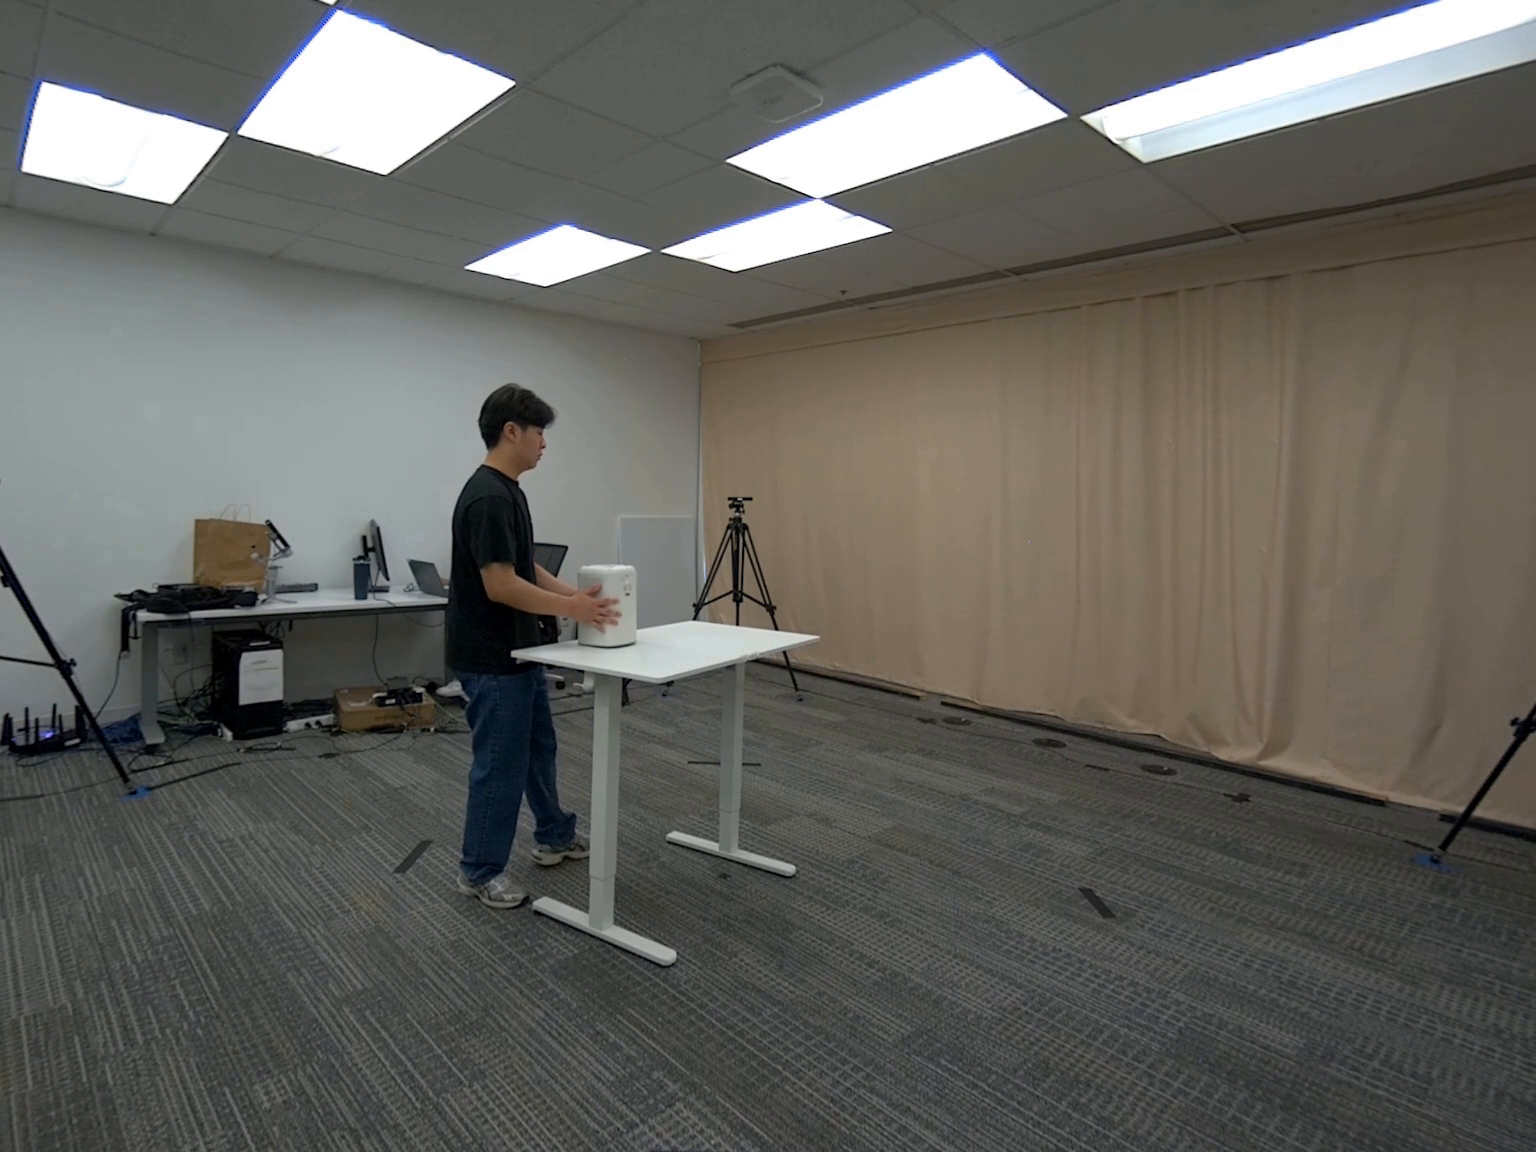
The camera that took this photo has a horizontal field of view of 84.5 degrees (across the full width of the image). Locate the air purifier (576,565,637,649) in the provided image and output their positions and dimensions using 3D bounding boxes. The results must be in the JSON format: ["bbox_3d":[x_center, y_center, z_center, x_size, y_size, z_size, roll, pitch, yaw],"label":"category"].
[{"bbox_3d":[-0.558,0.097,2.863,0.175,0.265,0.168,3,3,25],"label":"air purifier"}]
